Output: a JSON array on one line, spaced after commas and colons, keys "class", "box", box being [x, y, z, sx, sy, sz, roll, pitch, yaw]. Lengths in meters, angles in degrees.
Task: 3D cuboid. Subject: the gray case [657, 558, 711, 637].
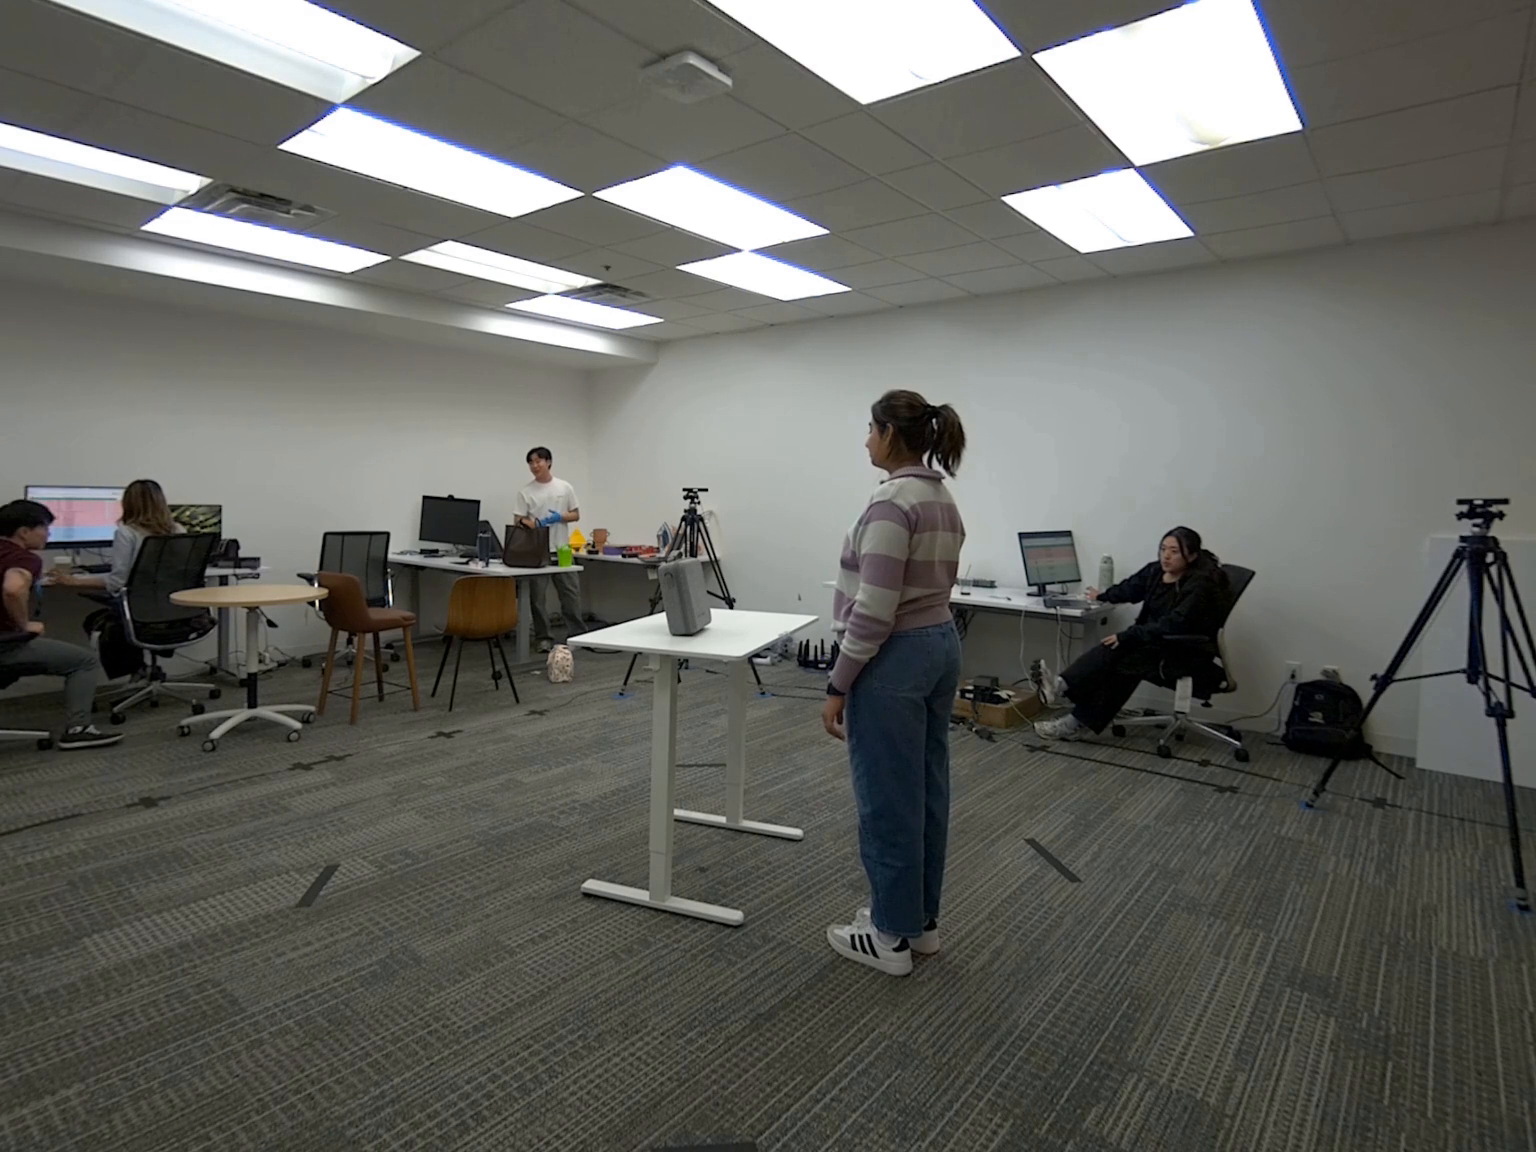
[{"class": "gray case", "box": [-0.302, 0.064, 2.998, 0.105, 0.261, 0.254, -7, 0, 10]}]
